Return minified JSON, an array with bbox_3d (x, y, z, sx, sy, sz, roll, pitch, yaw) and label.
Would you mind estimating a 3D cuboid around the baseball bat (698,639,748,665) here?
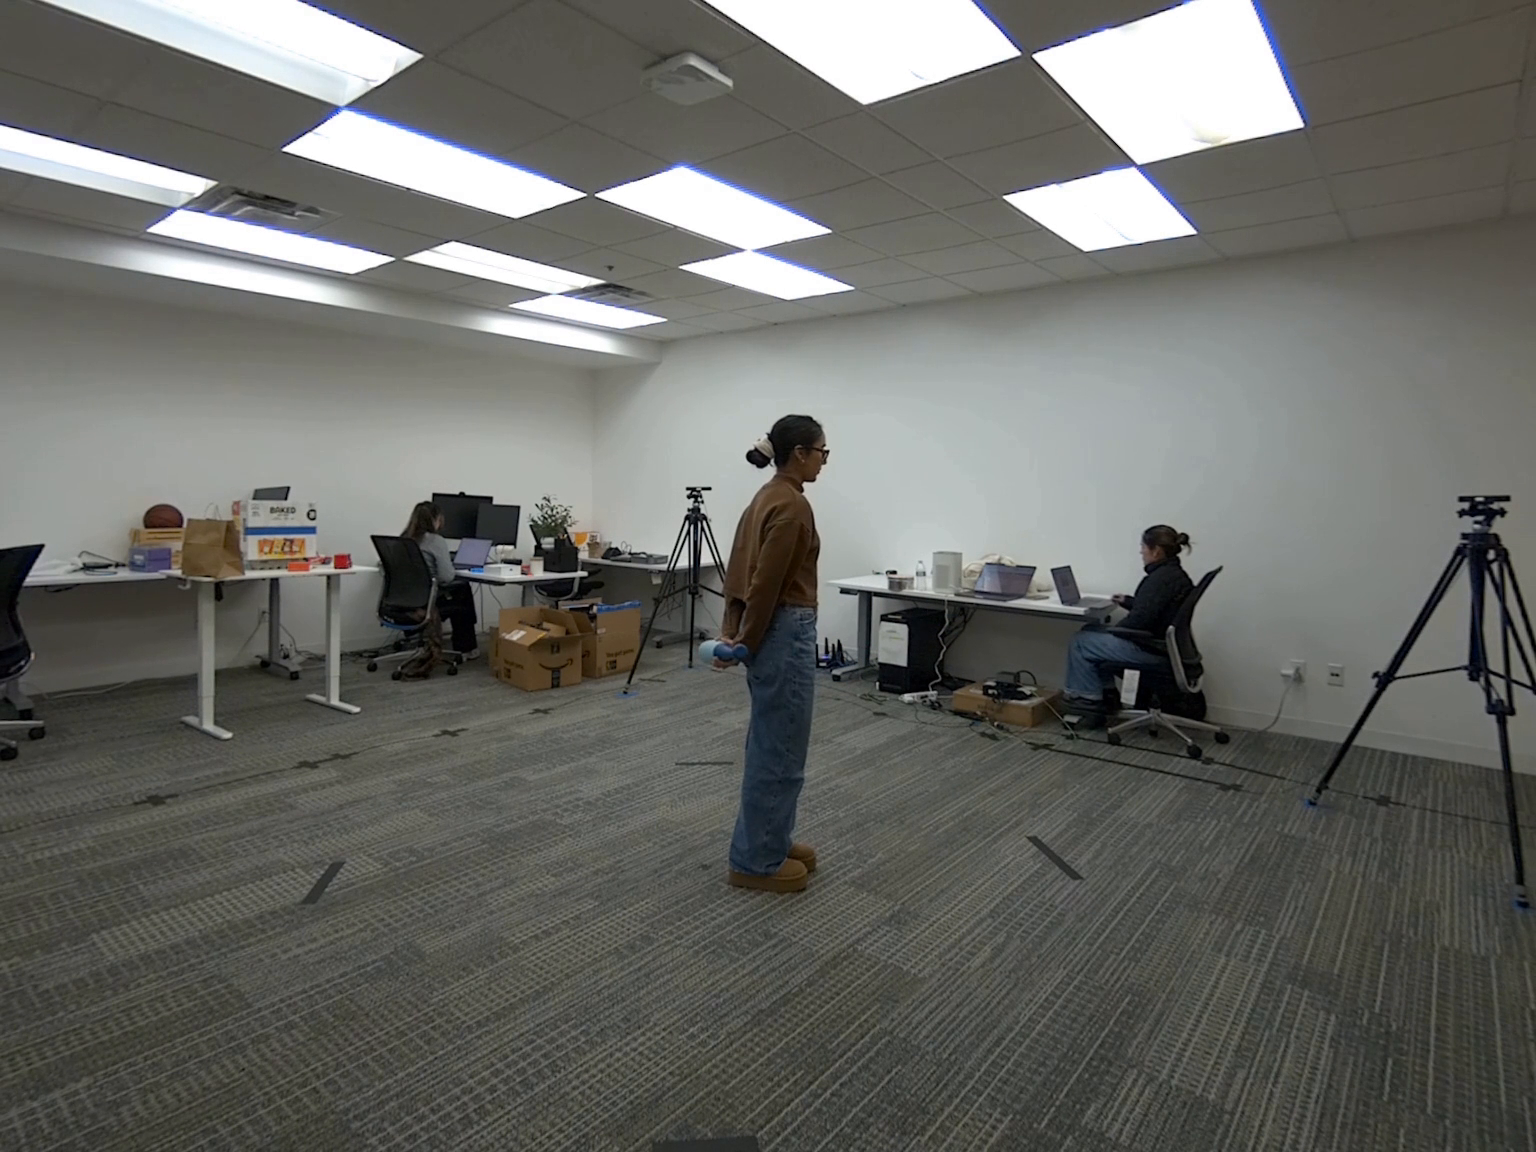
[{"bbox_3d":[-0.173,0.269,2.900,0.088,0.089,0.546,0,-3,-11],"label":"baseball bat"}]
